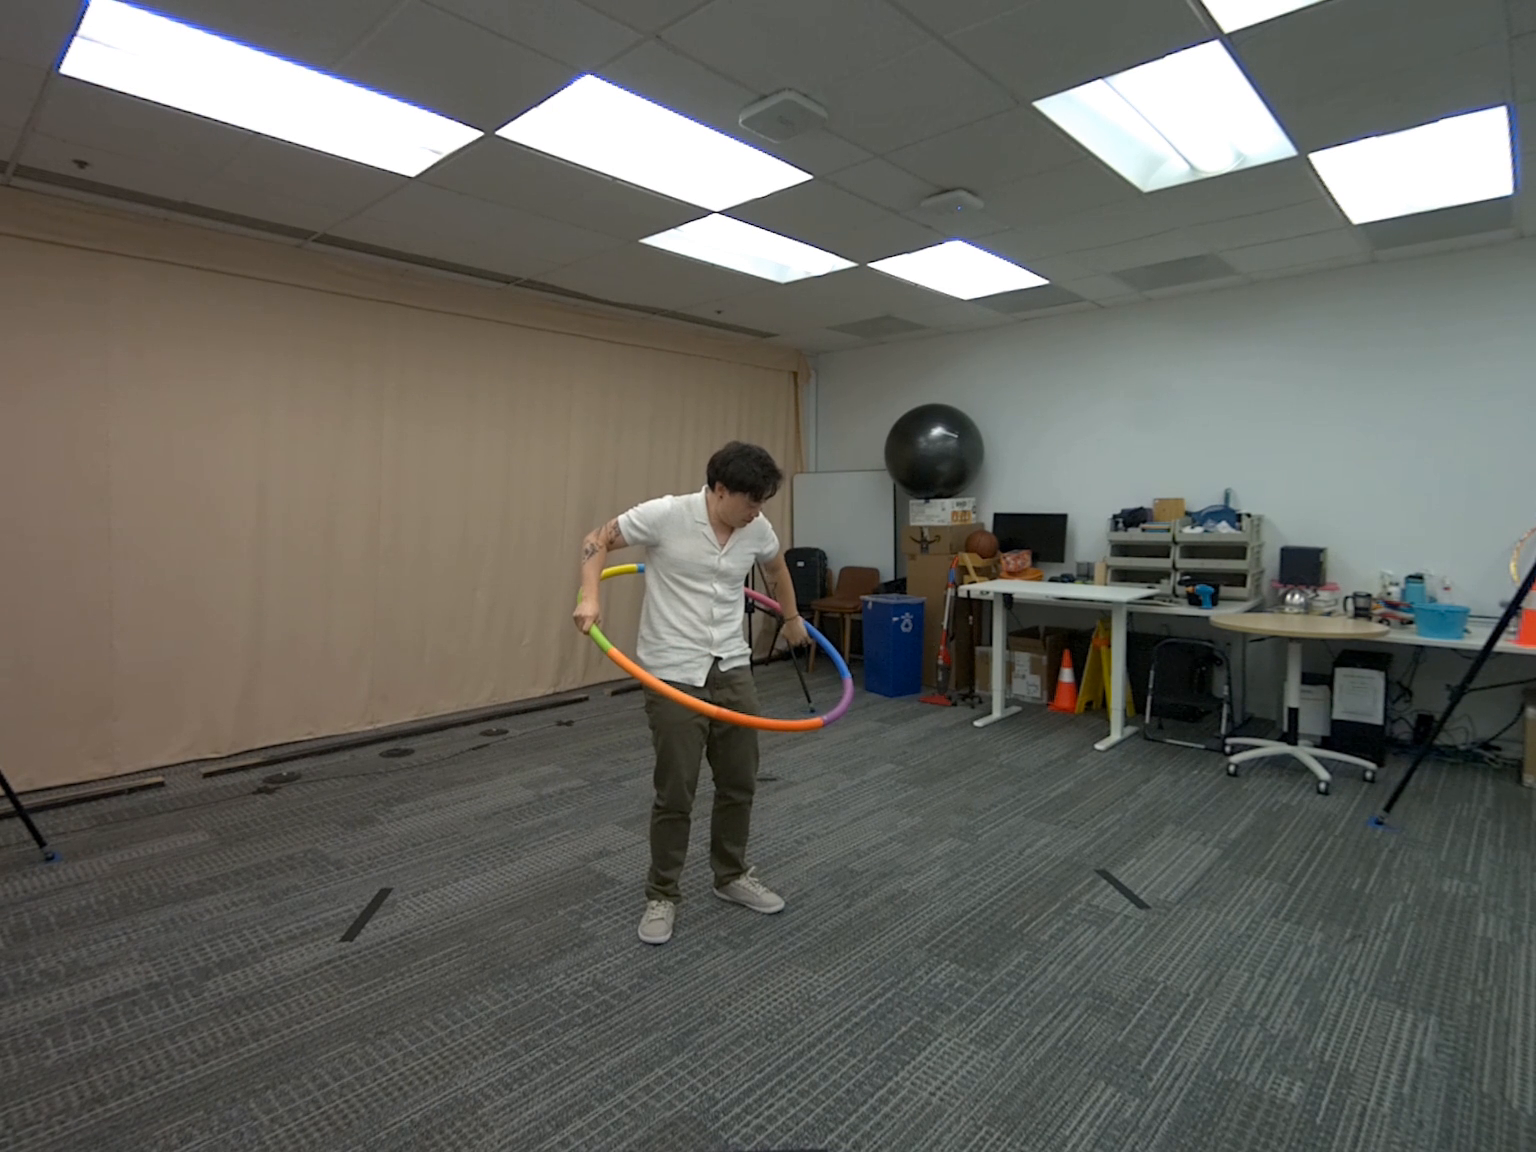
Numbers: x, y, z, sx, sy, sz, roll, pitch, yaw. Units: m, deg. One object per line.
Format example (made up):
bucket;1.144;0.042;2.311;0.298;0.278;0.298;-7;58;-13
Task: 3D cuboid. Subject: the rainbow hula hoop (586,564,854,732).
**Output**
rainbow hula hoop;-0.165;0.203;2.872;0.969;0.035;0.992;18;21;-9
